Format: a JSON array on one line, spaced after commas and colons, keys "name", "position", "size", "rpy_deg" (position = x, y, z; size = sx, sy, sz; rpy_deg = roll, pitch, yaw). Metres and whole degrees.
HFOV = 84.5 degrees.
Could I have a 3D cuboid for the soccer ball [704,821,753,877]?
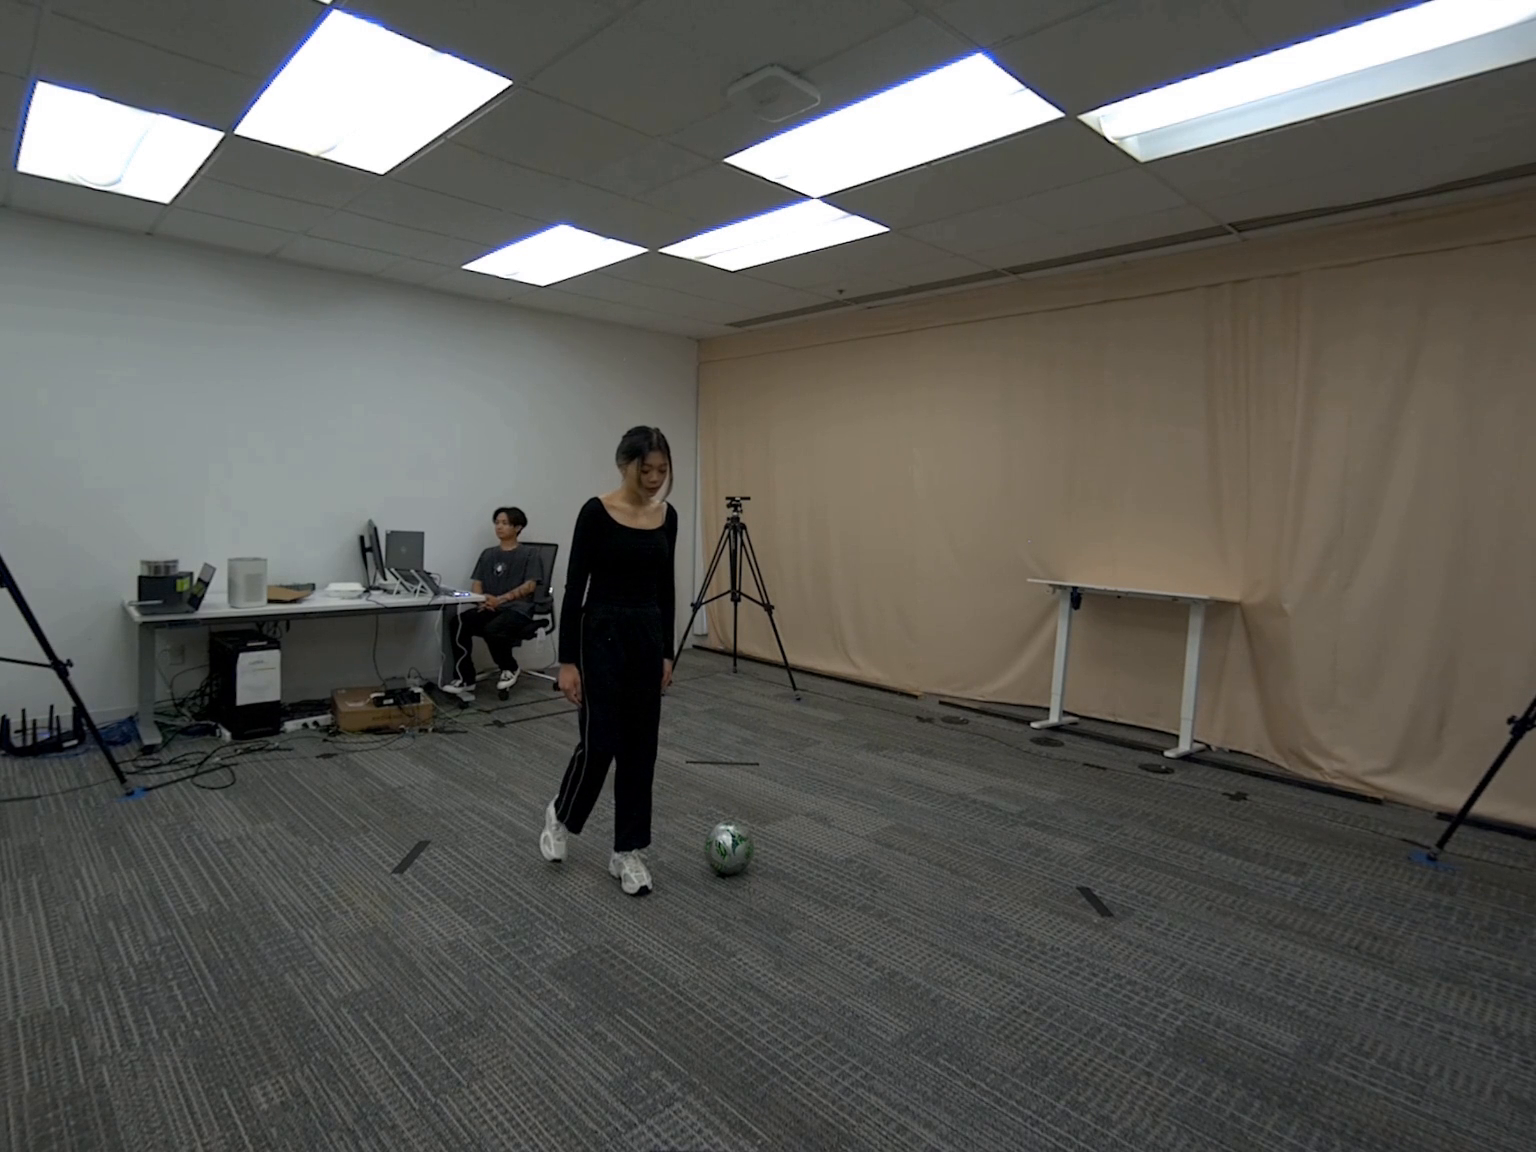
[{"name": "soccer ball", "position": [-0.153, 1.008, 3.126], "size": [0.187, 0.187, 0.188], "rpy_deg": [1, 4, -1]}]
